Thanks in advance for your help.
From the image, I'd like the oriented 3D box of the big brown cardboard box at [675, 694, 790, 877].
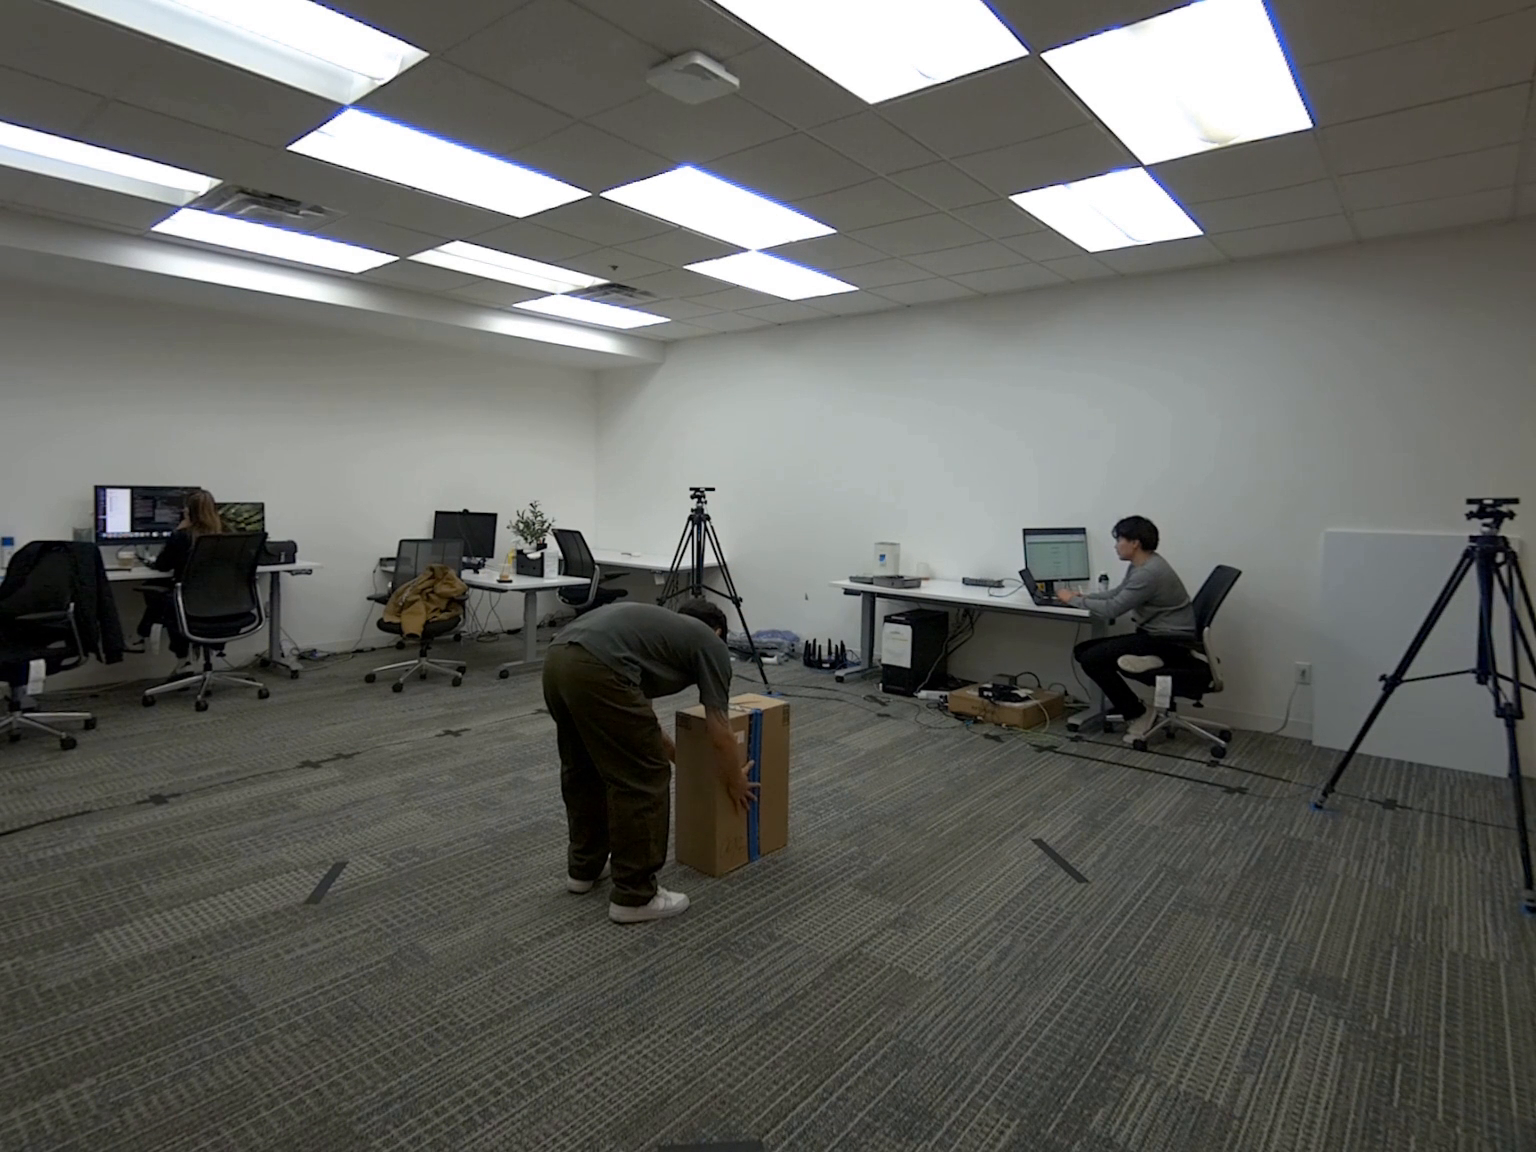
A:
[{"bbox_3d":[-0.139,0.769,3.234,0.241,0.586,0.405,5,7,41],"label":"big brown cardboard box"}]
